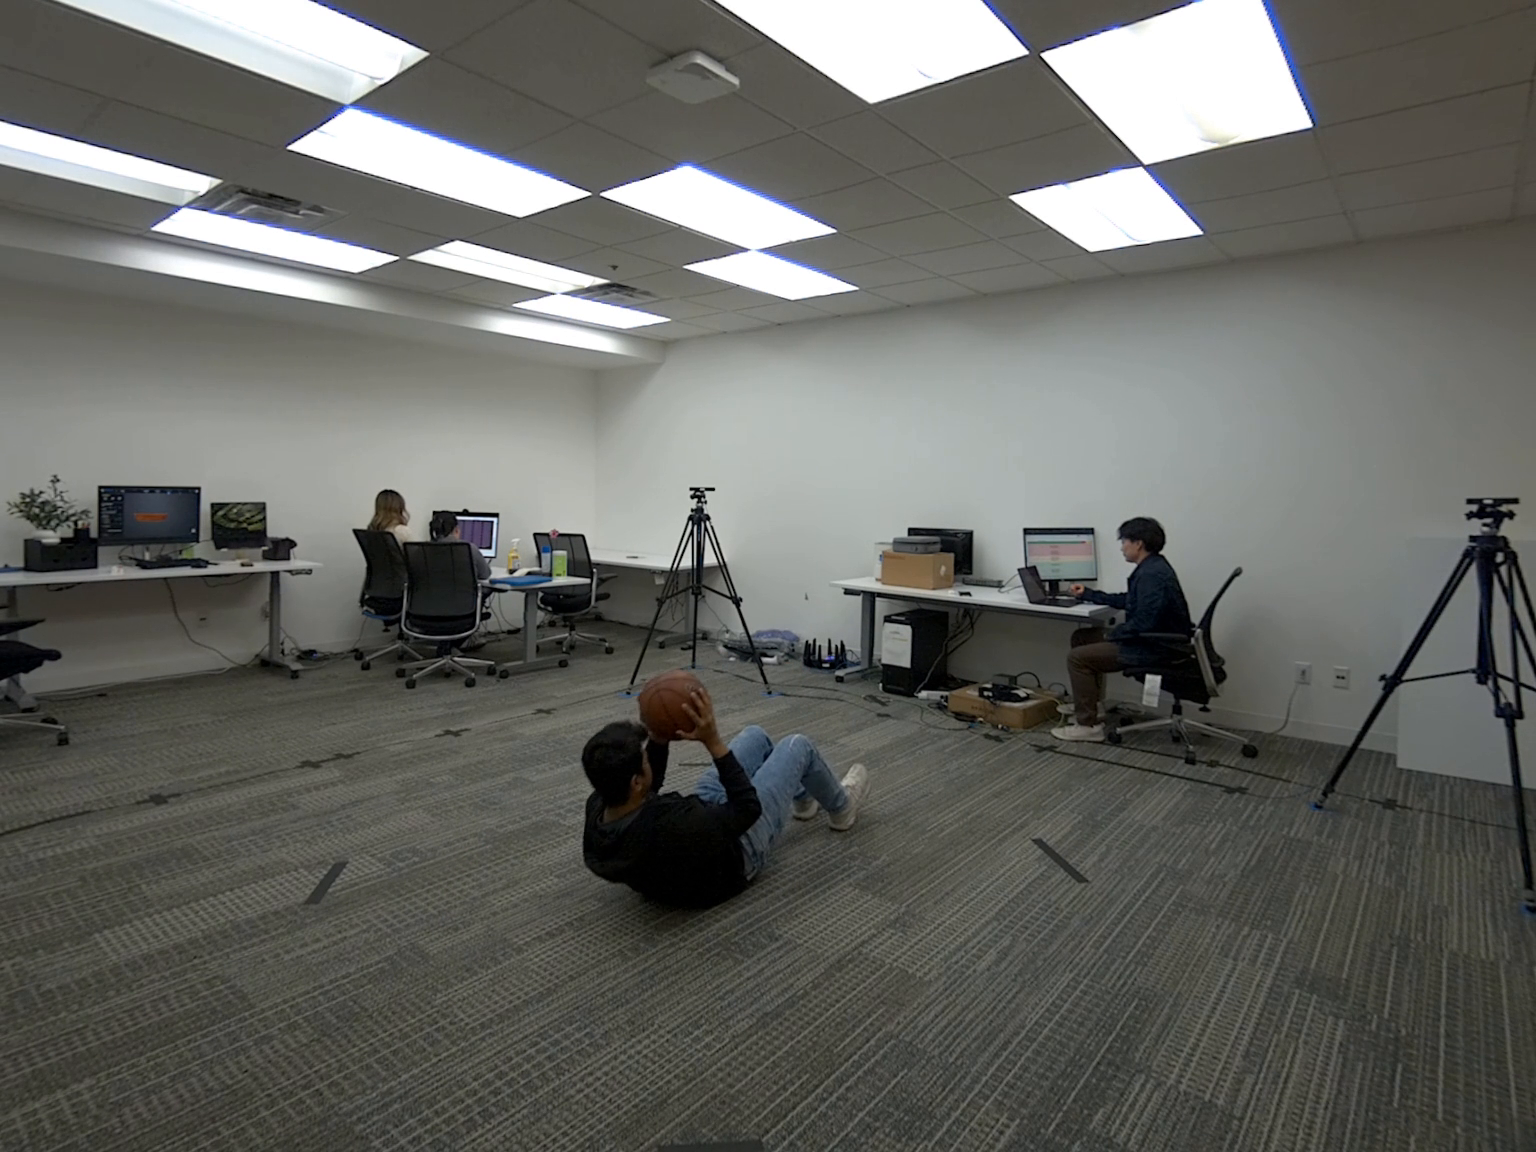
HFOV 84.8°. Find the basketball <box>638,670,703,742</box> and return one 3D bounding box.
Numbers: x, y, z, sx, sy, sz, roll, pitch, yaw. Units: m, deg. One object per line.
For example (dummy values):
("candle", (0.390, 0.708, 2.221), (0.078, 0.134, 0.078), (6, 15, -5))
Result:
("basketball", (-0.329, 0.442, 2.871), (0.235, 0.235, 0.237), (1, 4, -2))
